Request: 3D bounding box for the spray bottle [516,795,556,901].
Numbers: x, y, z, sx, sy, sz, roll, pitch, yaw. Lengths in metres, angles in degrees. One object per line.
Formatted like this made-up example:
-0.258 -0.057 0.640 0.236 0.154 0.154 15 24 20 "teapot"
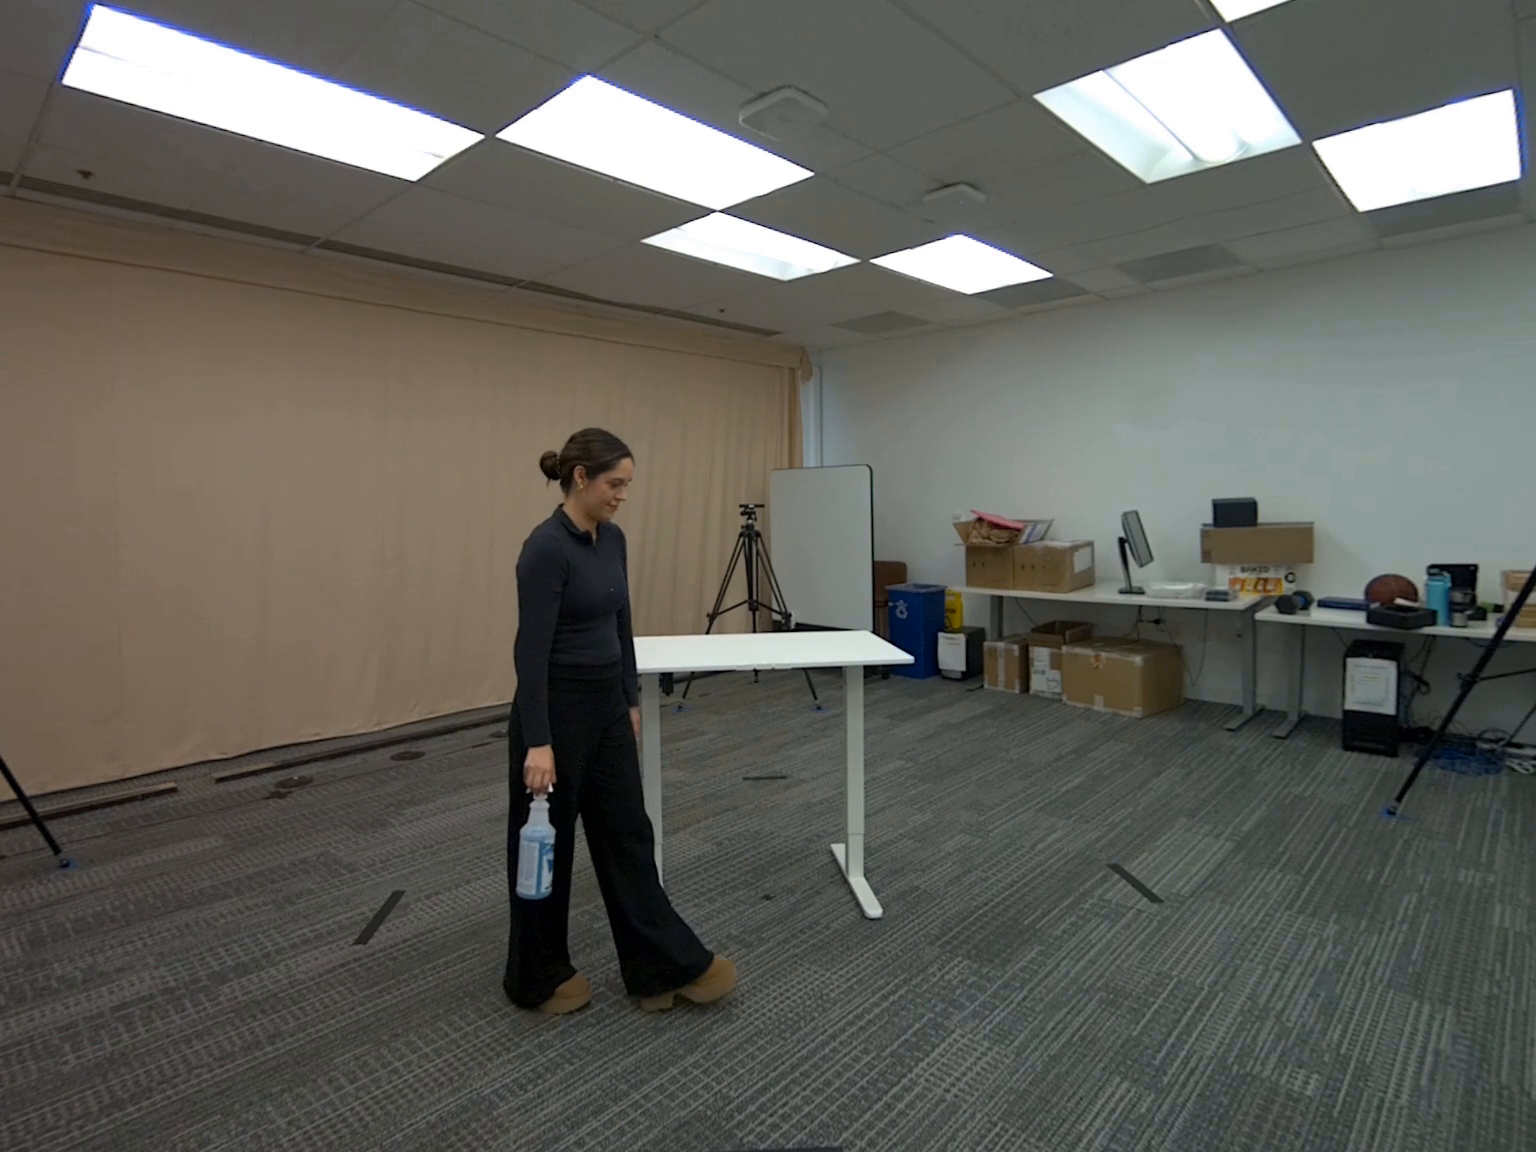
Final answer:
-0.577 0.646 2.108 0.085 0.297 0.092 4 -1 -29 "spray bottle"
